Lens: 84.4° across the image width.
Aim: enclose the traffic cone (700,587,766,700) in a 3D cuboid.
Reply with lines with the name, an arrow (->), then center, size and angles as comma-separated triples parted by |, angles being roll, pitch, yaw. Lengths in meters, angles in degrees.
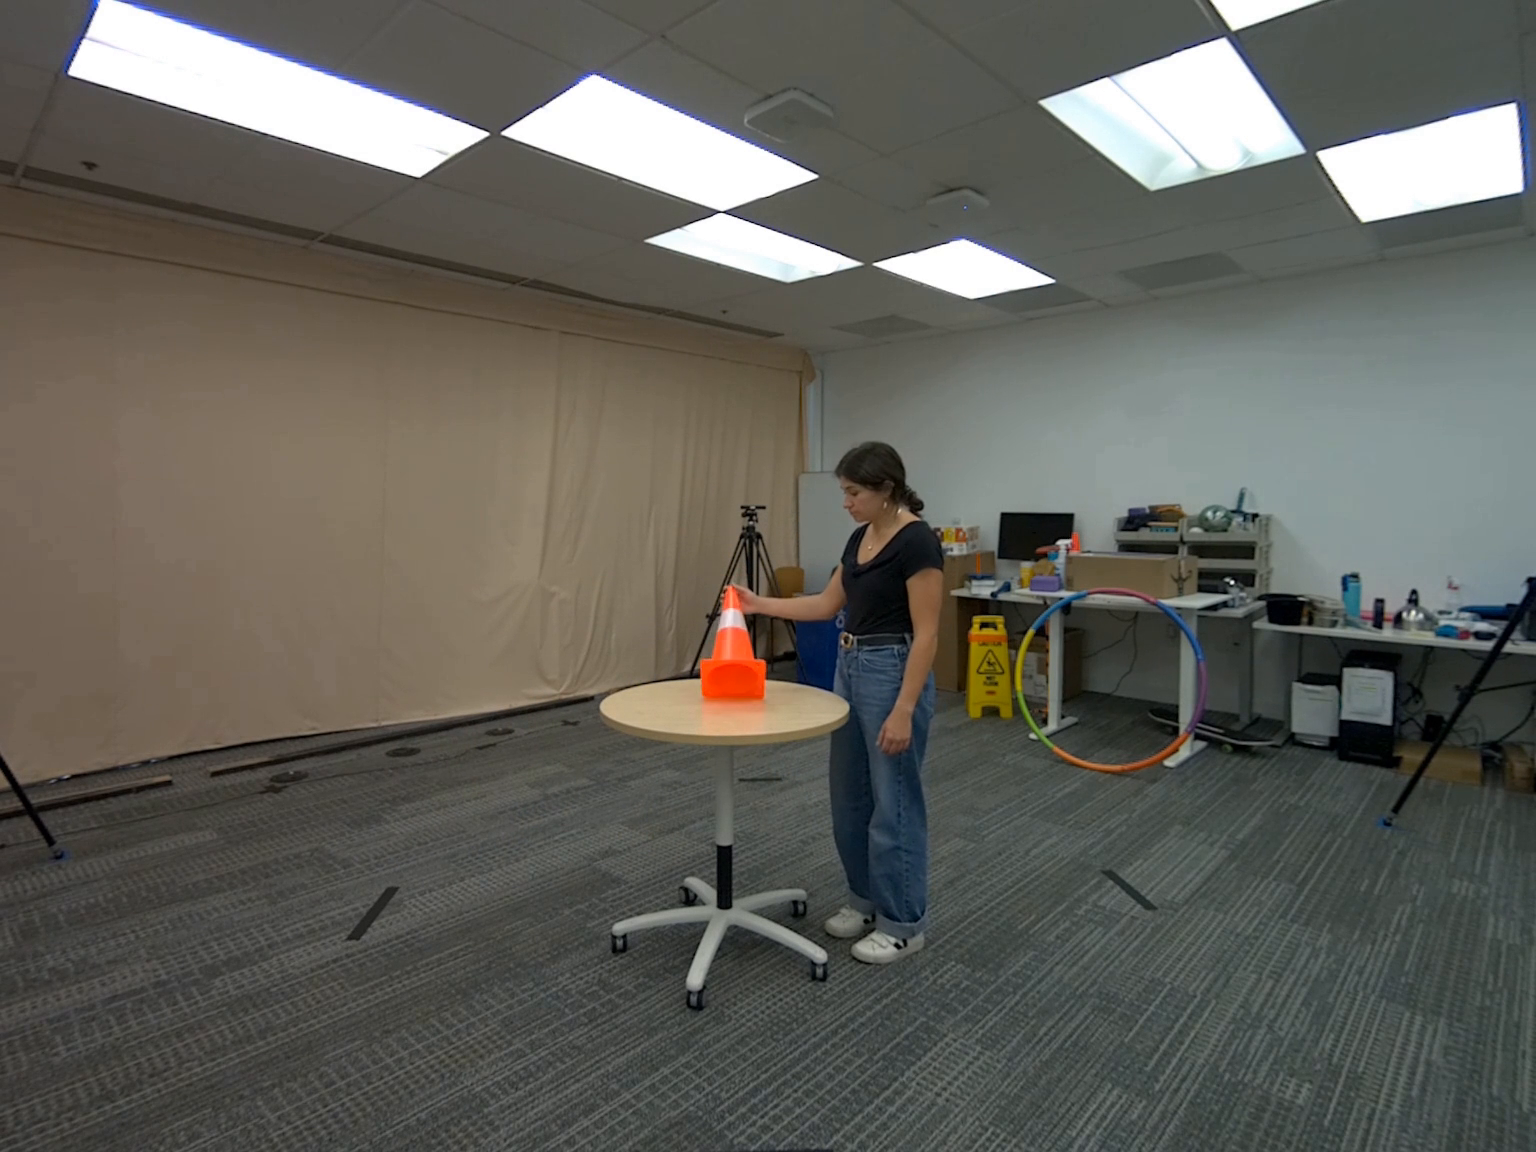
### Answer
traffic cone -> -0.108, 0.191, 2.731 | 0.205, 0.200, 0.391 | 1, 46, -2
